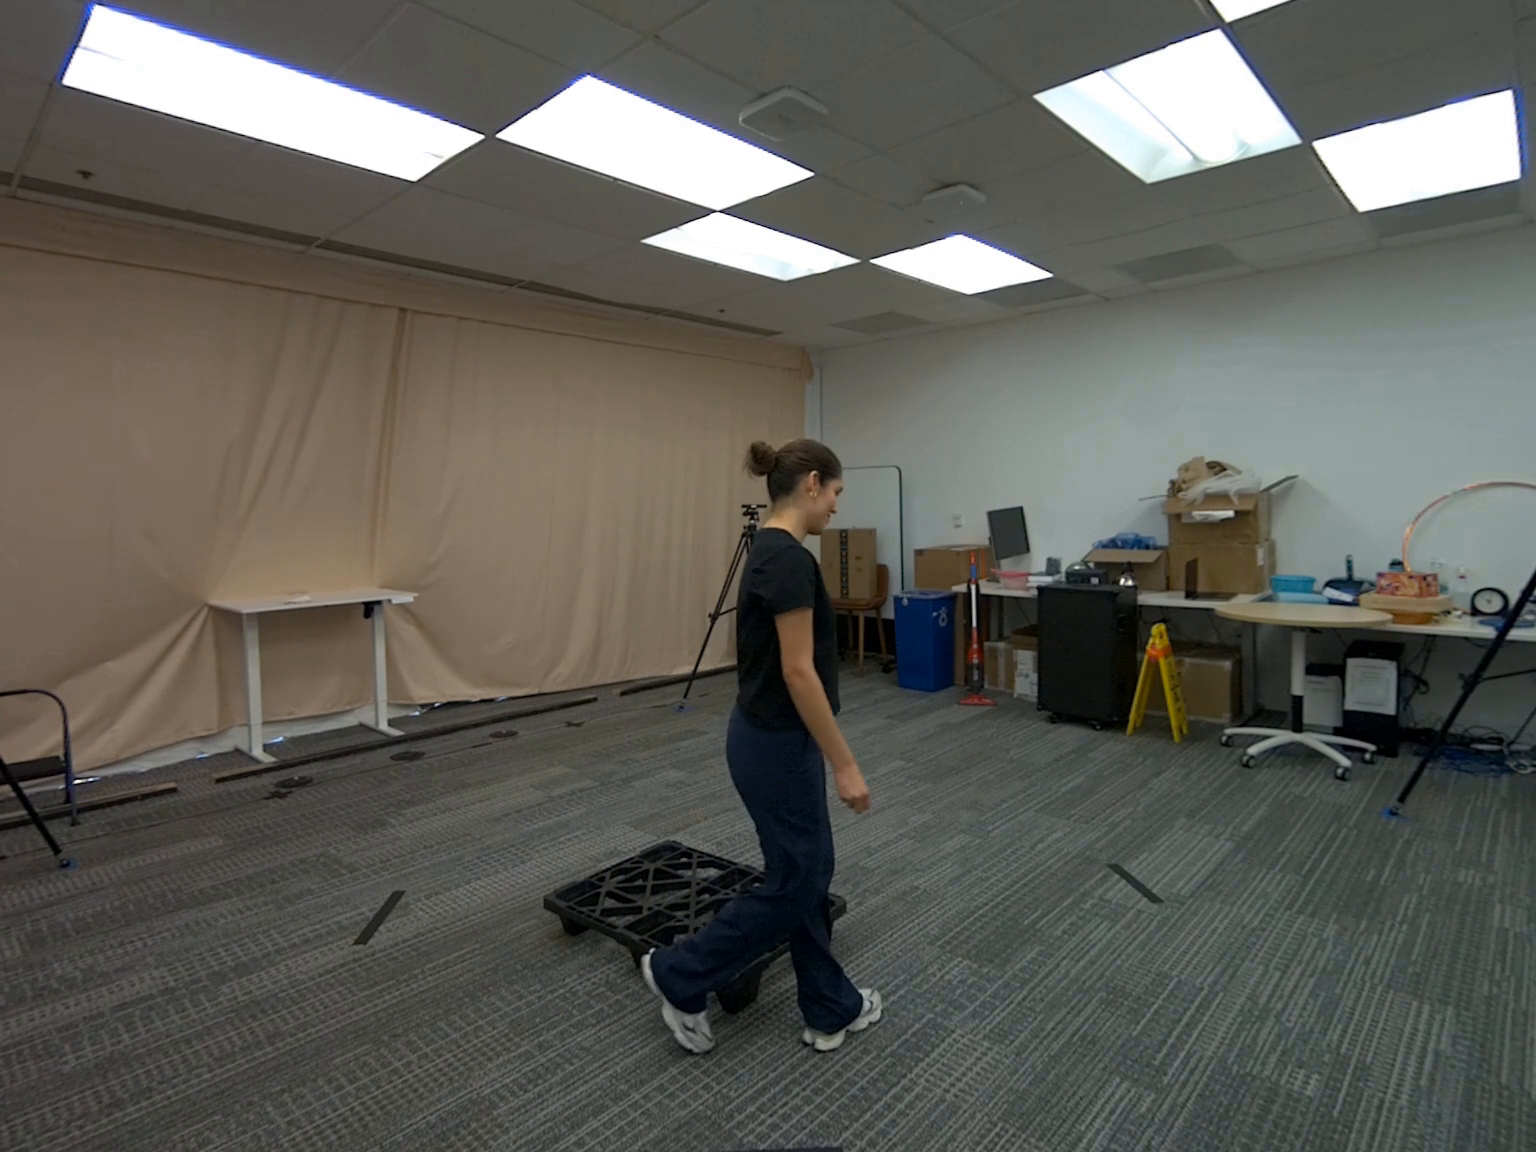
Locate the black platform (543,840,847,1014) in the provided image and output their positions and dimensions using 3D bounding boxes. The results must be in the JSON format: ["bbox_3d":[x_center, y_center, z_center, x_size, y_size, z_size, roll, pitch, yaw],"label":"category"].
[{"bbox_3d":[-0.222,1.103,2.703,0.832,0.143,0.587,2,7,39],"label":"black platform"}]
